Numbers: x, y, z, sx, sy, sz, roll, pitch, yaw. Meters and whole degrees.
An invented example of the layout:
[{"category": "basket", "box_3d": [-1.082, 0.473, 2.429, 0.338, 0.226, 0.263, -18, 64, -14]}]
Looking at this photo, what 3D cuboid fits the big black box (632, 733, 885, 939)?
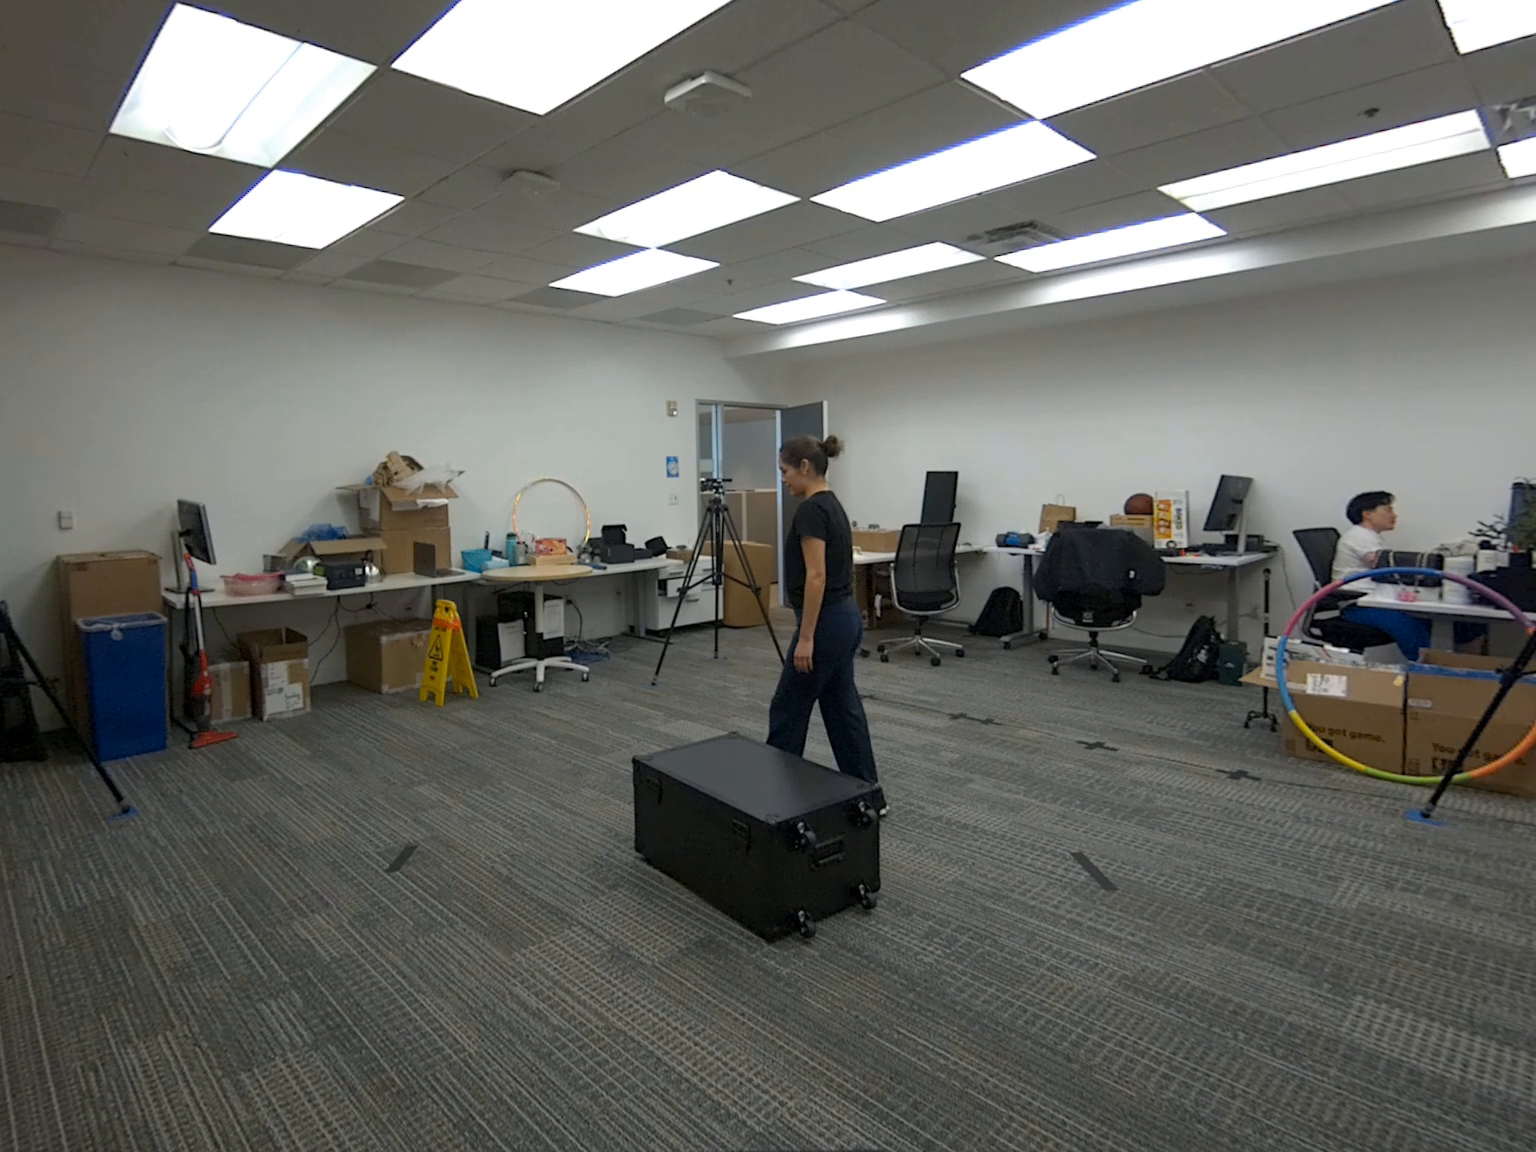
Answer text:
[{"category": "big black box", "box_3d": [-0.079, 0.864, 3.029, 0.508, 0.394, 0.888, -5, 8, -39]}]
